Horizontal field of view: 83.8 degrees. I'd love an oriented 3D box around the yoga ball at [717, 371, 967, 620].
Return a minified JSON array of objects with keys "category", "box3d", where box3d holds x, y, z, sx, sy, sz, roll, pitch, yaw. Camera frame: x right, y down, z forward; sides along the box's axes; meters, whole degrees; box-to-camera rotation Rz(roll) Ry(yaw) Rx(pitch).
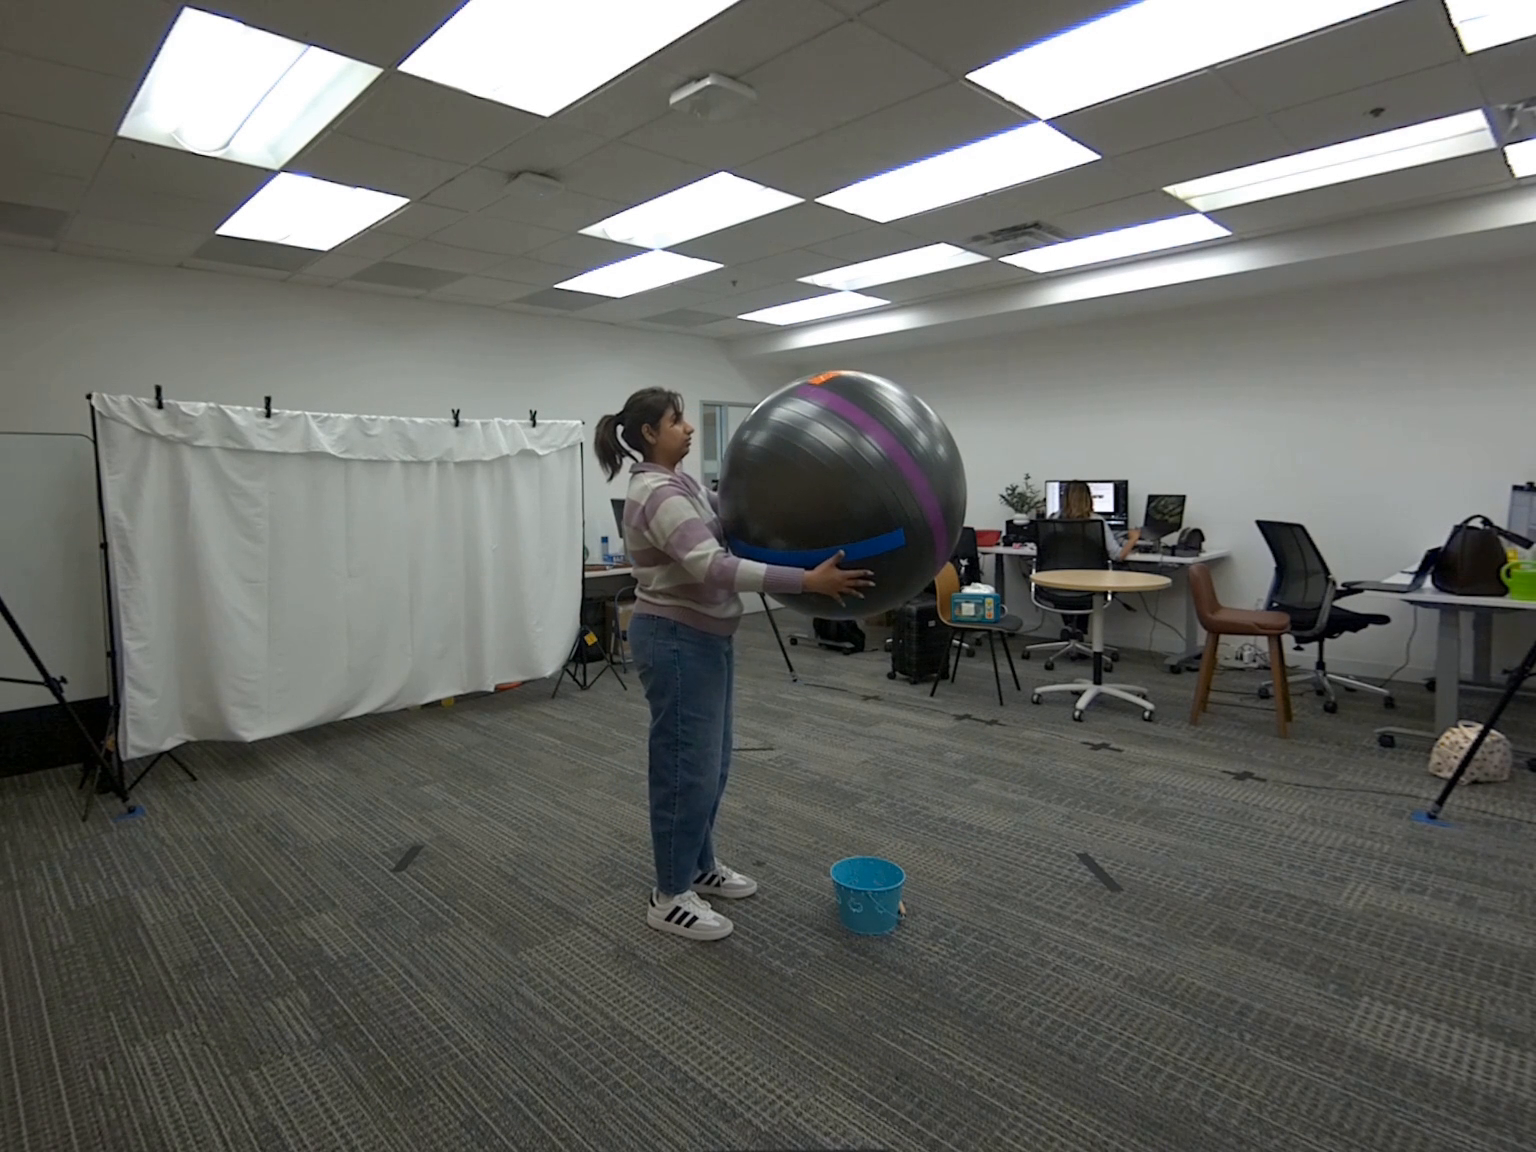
[{"category":"yoga ball","box3d":[0.242,-0.245,2.638,0.757,0.755,0.762,-1,5,-2]}]
